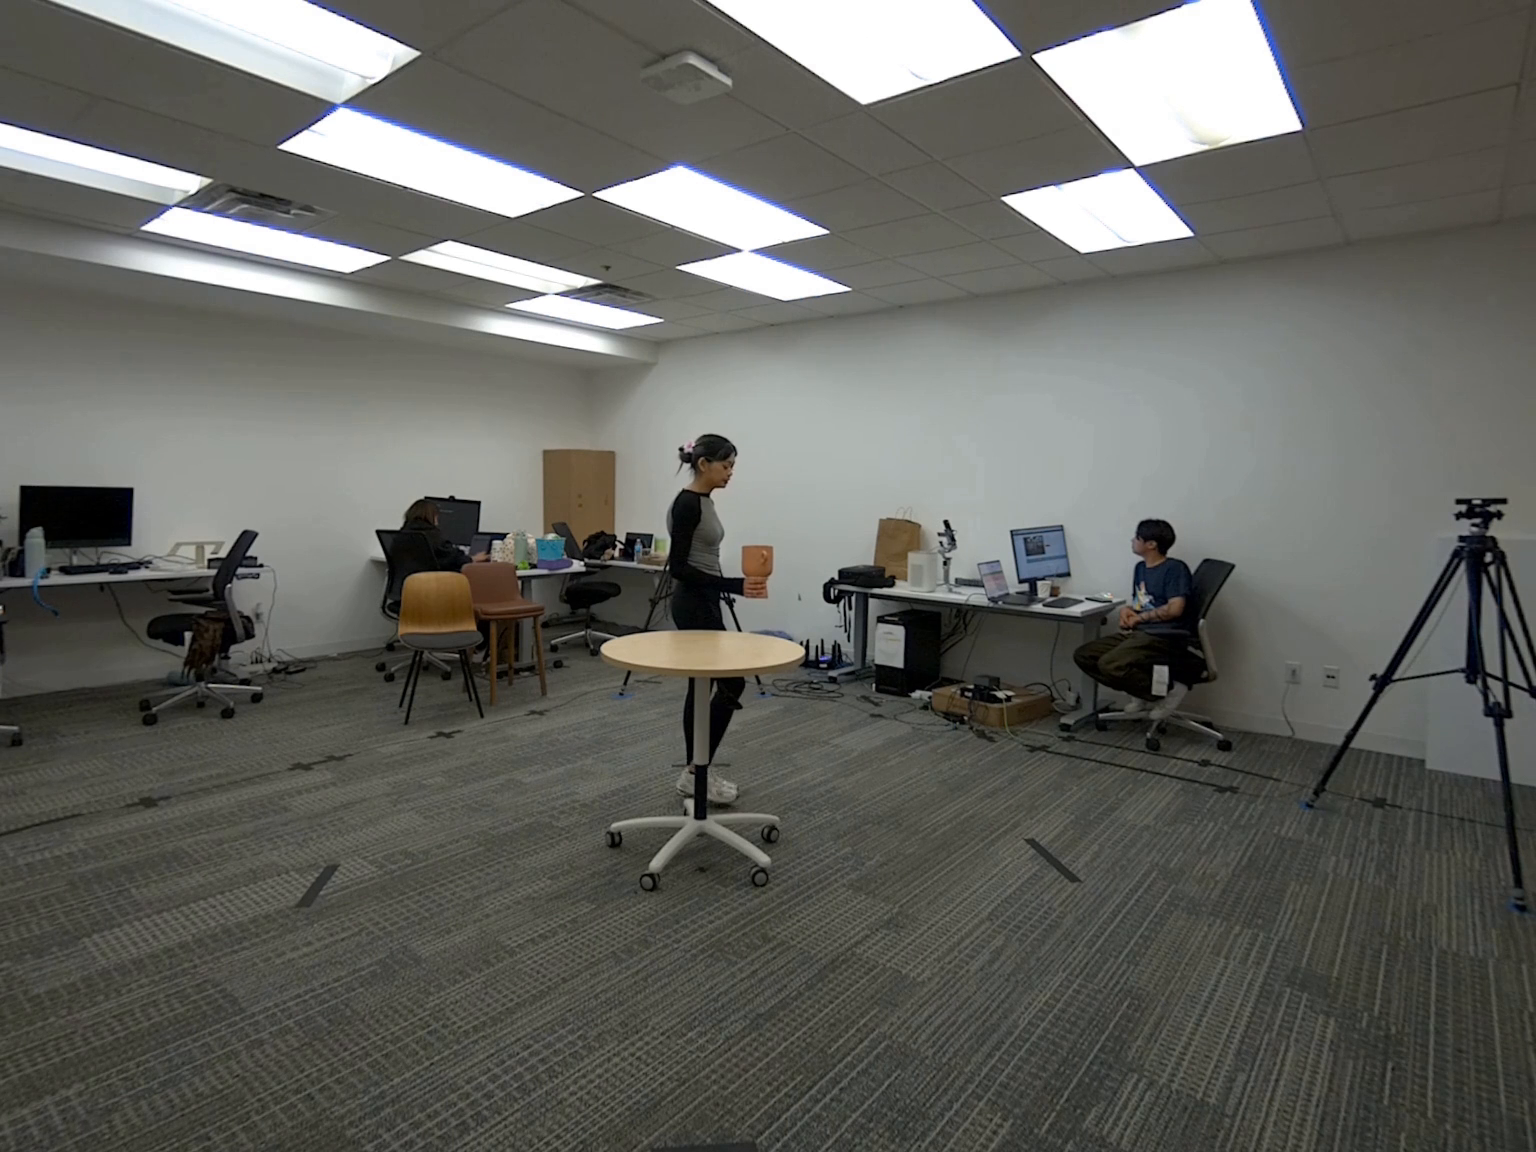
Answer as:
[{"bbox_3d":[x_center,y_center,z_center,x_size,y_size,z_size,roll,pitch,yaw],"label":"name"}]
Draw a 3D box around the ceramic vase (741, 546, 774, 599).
[{"bbox_3d":[-0.058,-0.022,3.618,0.137,0.221,0.155,-1,-4,17],"label":"ceramic vase"}]
